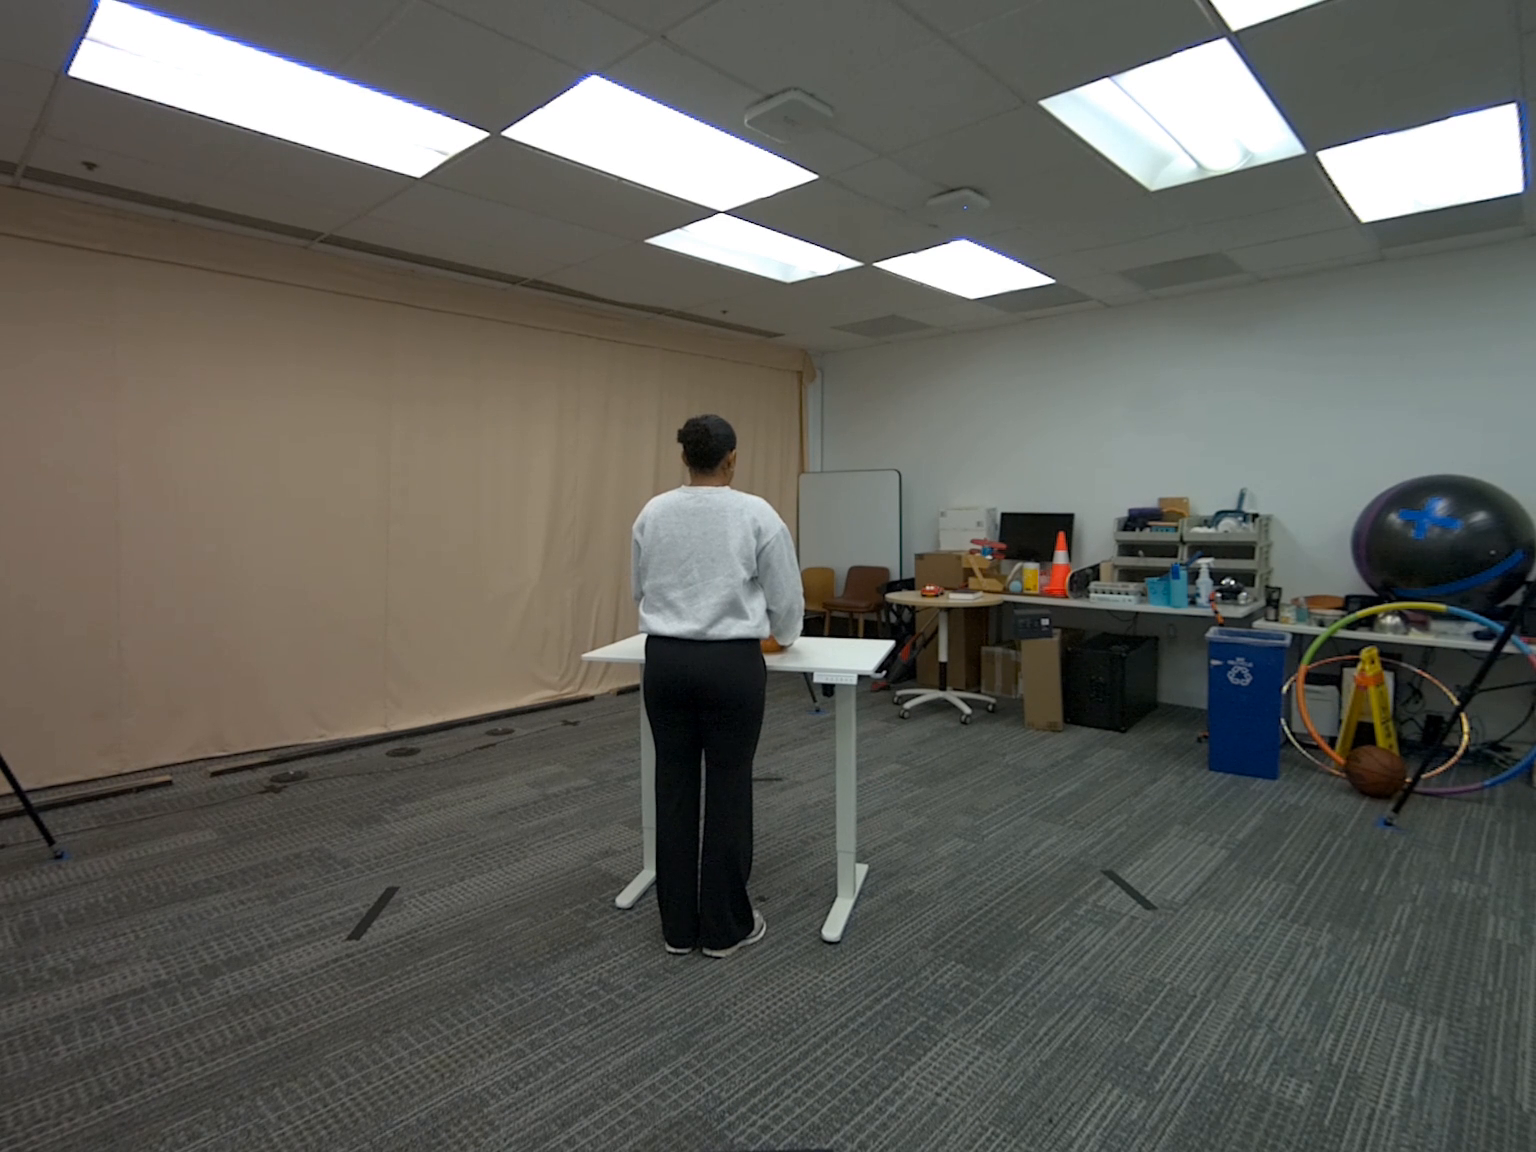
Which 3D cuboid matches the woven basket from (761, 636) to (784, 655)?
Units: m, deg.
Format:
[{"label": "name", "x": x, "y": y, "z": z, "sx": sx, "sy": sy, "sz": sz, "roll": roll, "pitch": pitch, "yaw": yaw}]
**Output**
[{"label": "woven basket", "x": -0.066, "y": 0.223, "z": 2.984, "sx": 0.360, "sy": 0.073, "sz": 0.246, "roll": 1, "pitch": 4, "yaw": 29}]
